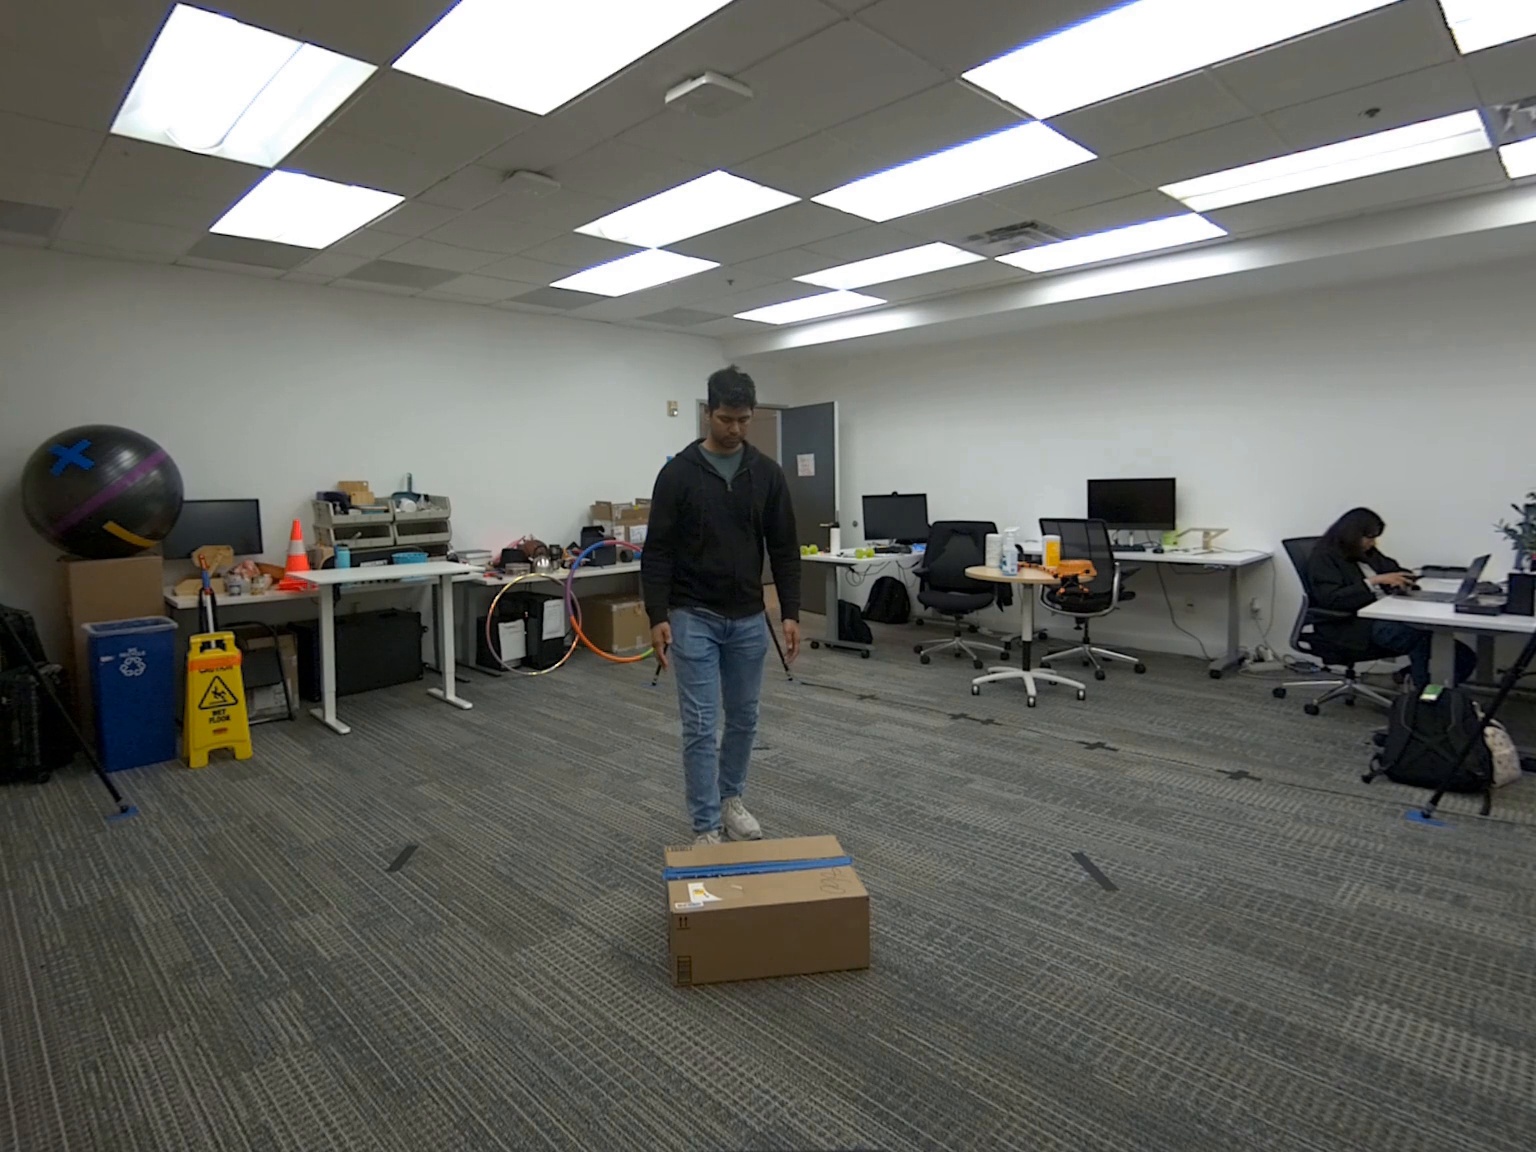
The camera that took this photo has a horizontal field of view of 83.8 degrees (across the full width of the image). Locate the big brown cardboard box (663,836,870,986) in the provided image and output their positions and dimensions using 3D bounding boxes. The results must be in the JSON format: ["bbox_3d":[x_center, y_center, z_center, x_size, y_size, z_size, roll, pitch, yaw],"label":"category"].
[{"bbox_3d":[-0.024,0.992,2.589,0.584,0.232,0.423,-1,6,-9],"label":"big brown cardboard box"}]
